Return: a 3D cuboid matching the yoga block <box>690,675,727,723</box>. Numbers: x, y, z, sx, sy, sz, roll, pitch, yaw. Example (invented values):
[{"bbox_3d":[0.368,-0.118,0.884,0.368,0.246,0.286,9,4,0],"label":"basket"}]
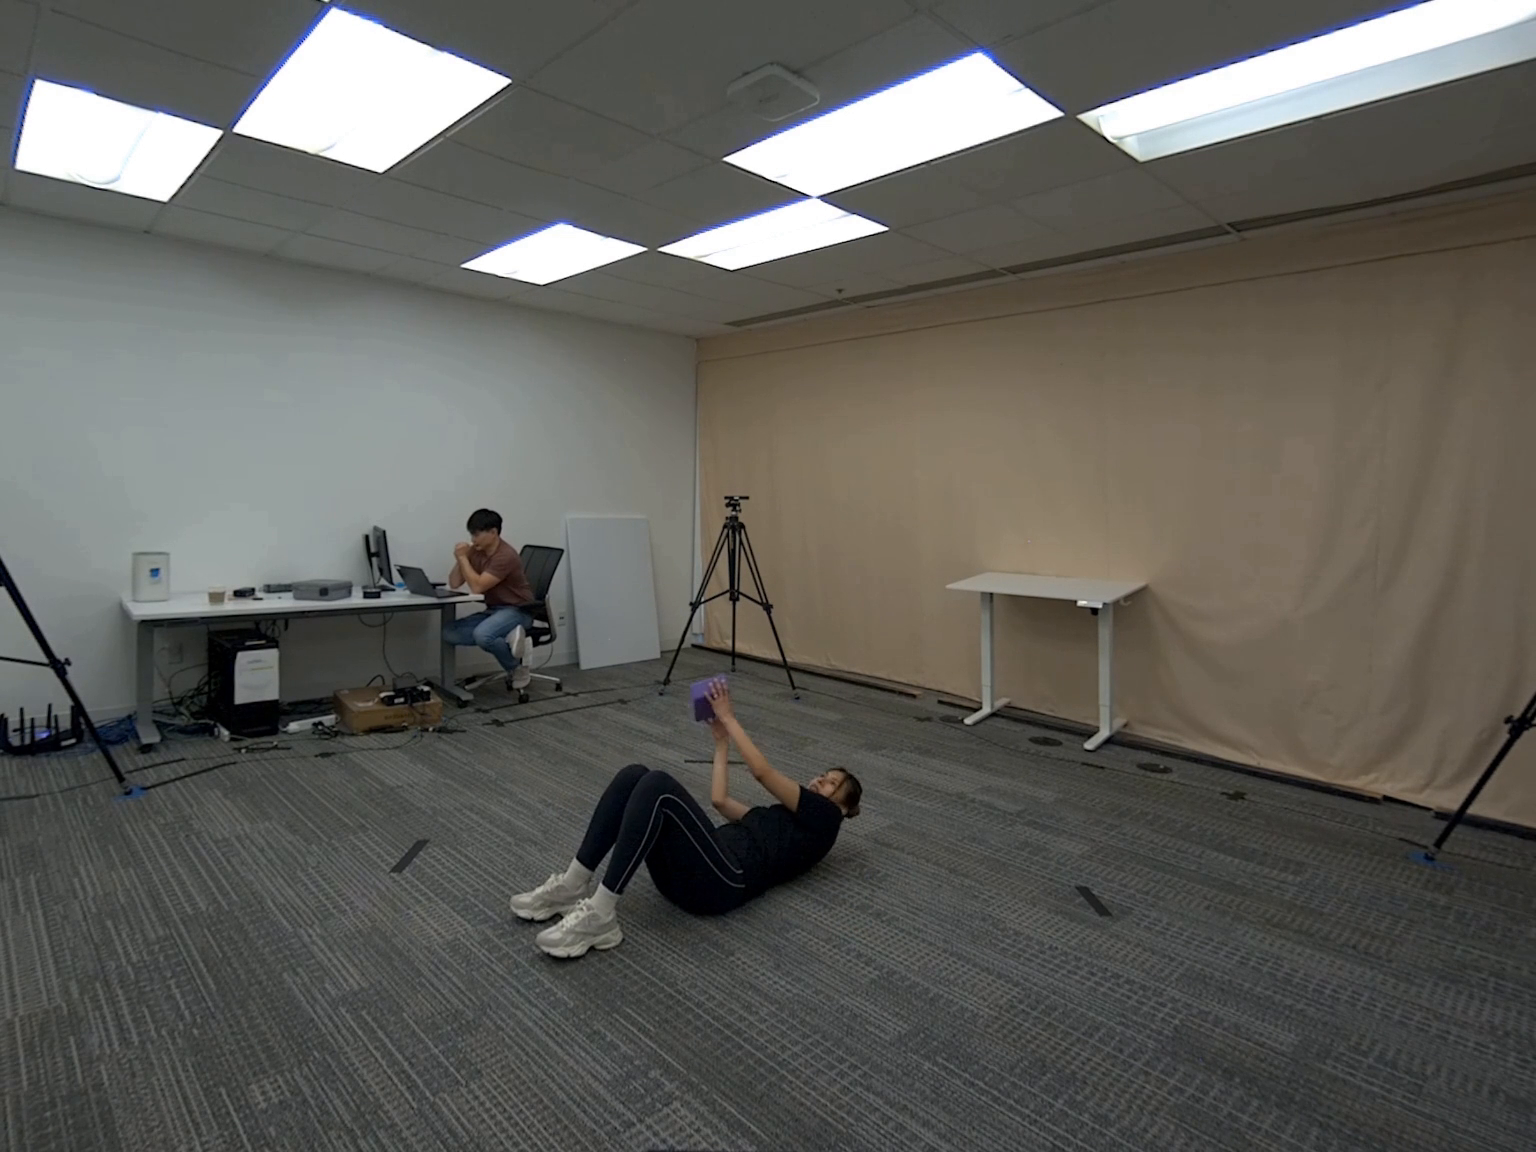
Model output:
[{"bbox_3d":[-0.235,0.511,3.411,0.148,0.078,0.224,-16,-32,-11],"label":"yoga block"}]
